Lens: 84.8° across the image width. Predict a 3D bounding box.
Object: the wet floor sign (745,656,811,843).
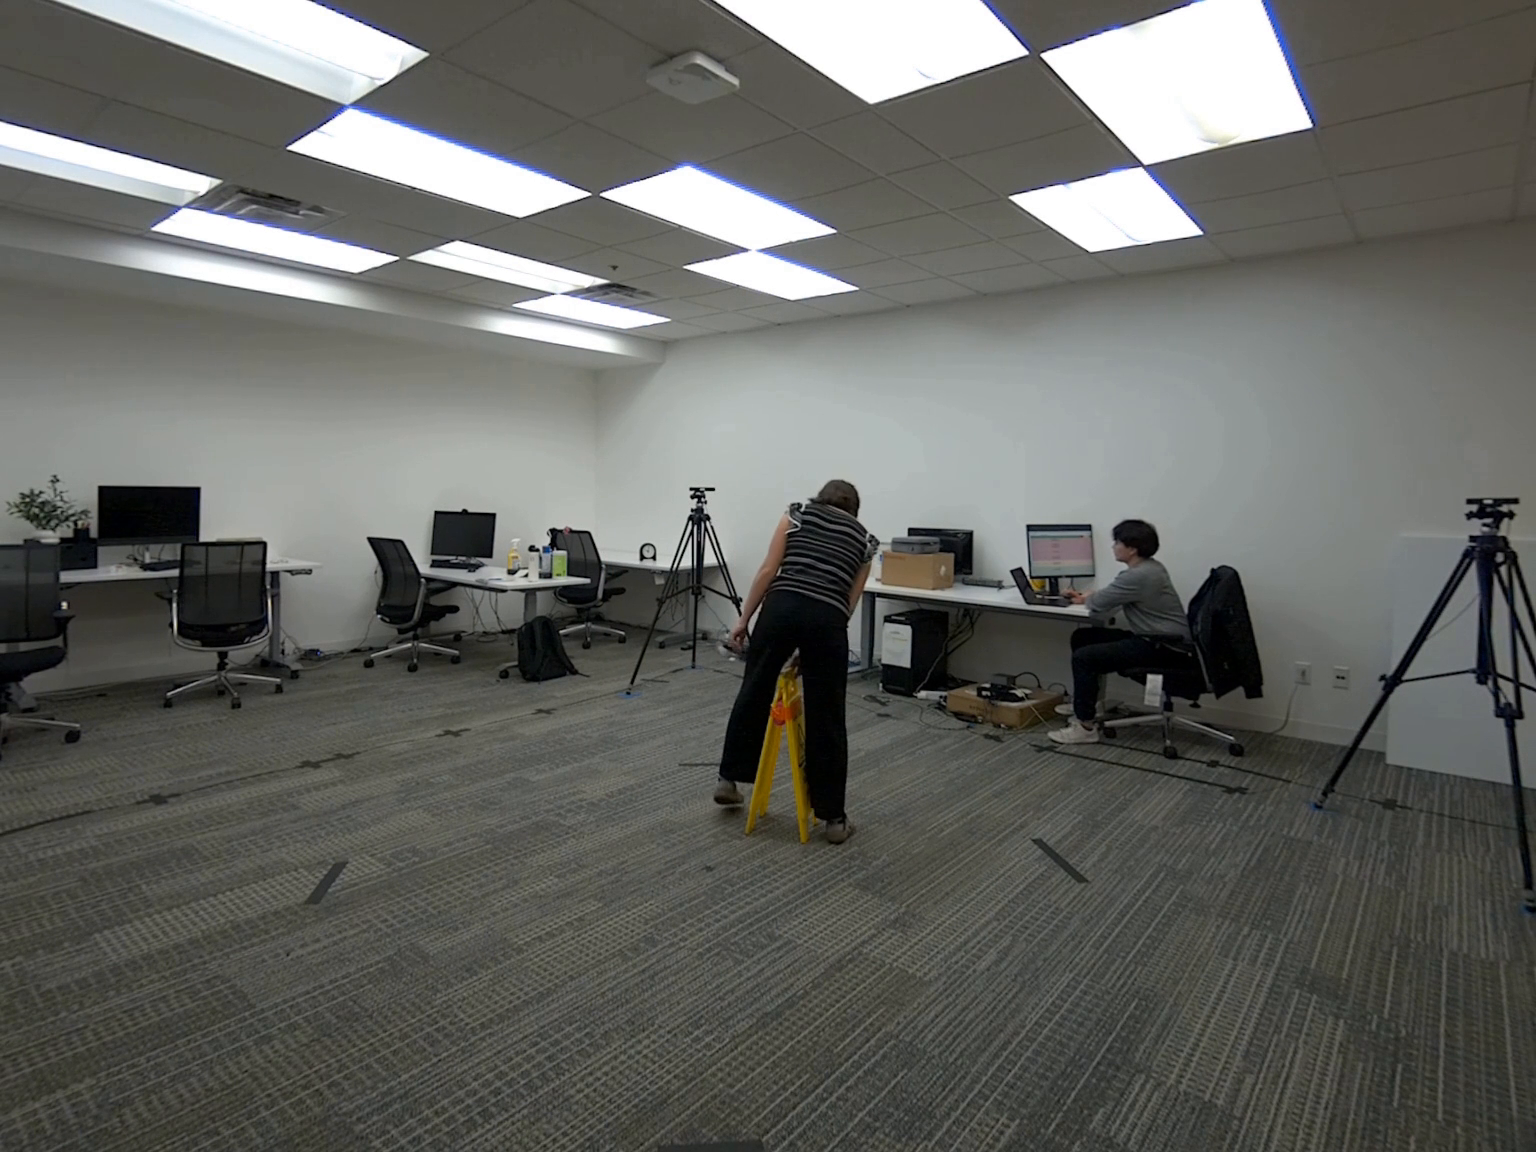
[{"bbox_3d":[0.067,0.708,3.494,0.295,0.643,0.278,3,5,17],"label":"wet floor sign"}]
